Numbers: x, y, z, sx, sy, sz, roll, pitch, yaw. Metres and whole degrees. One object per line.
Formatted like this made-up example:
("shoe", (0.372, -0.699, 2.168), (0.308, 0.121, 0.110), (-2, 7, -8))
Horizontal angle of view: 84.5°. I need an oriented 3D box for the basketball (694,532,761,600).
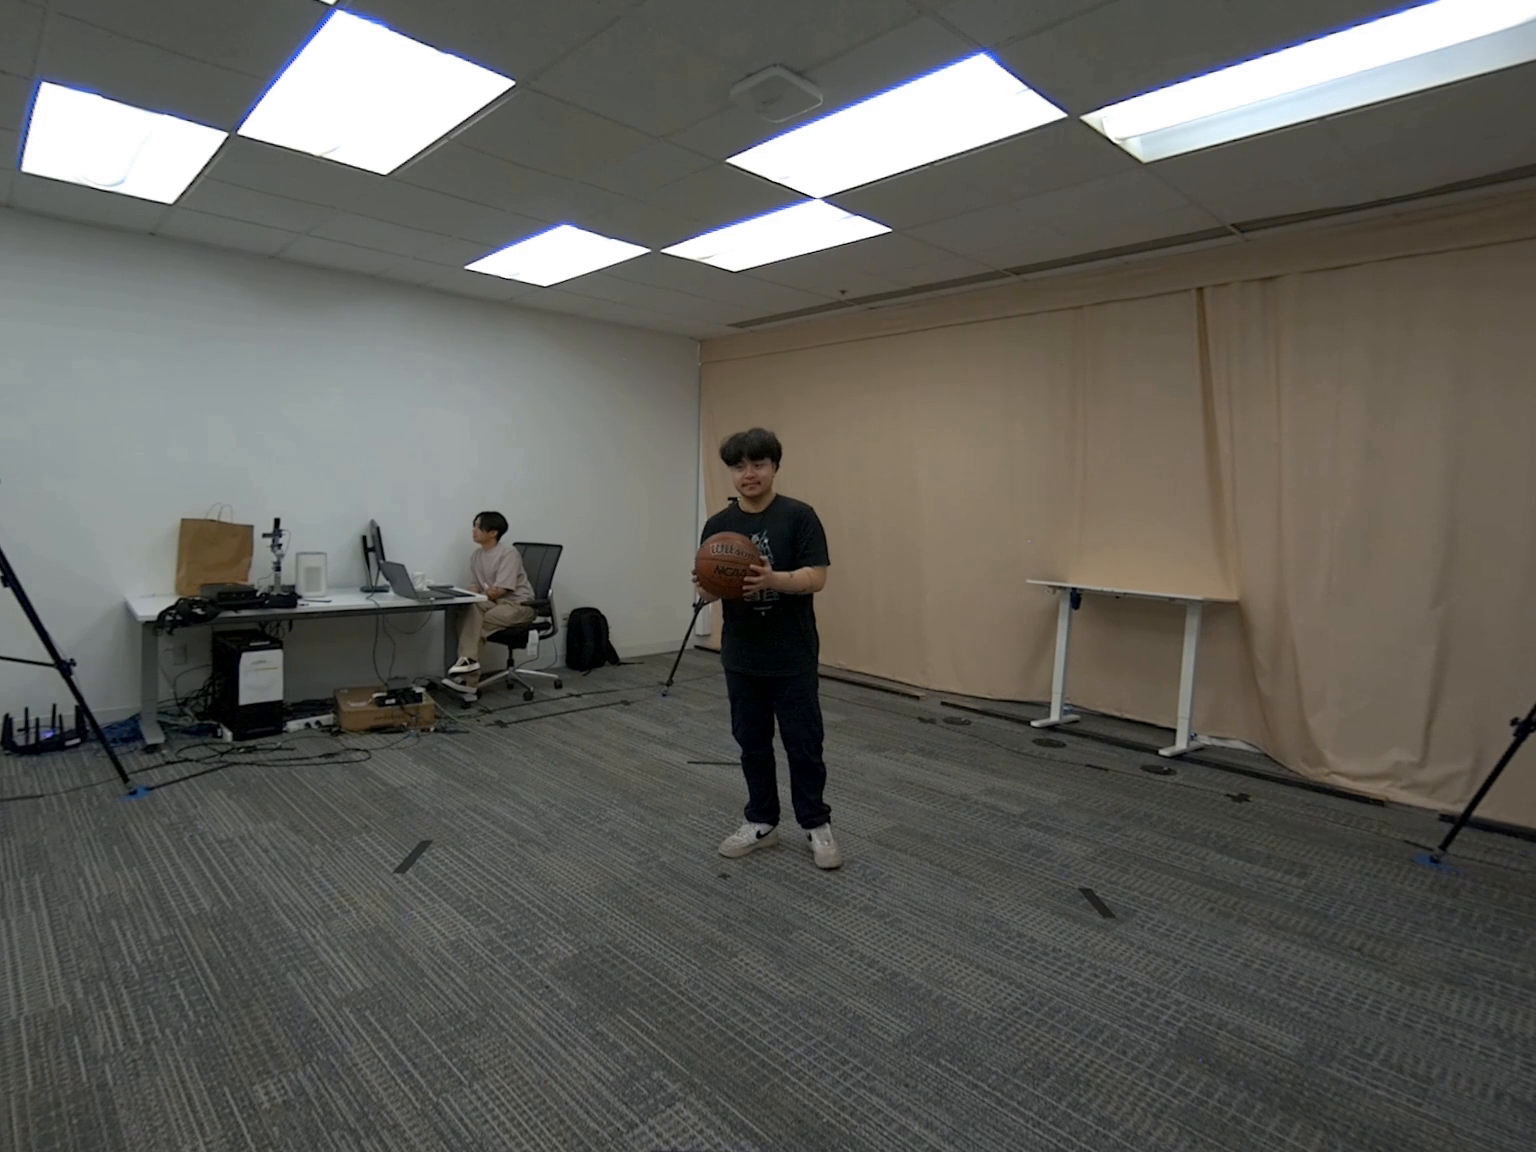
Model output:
("basketball", (-0.145, -0.037, 2.980), (0.236, 0.235, 0.237), (1, 4, -1))
